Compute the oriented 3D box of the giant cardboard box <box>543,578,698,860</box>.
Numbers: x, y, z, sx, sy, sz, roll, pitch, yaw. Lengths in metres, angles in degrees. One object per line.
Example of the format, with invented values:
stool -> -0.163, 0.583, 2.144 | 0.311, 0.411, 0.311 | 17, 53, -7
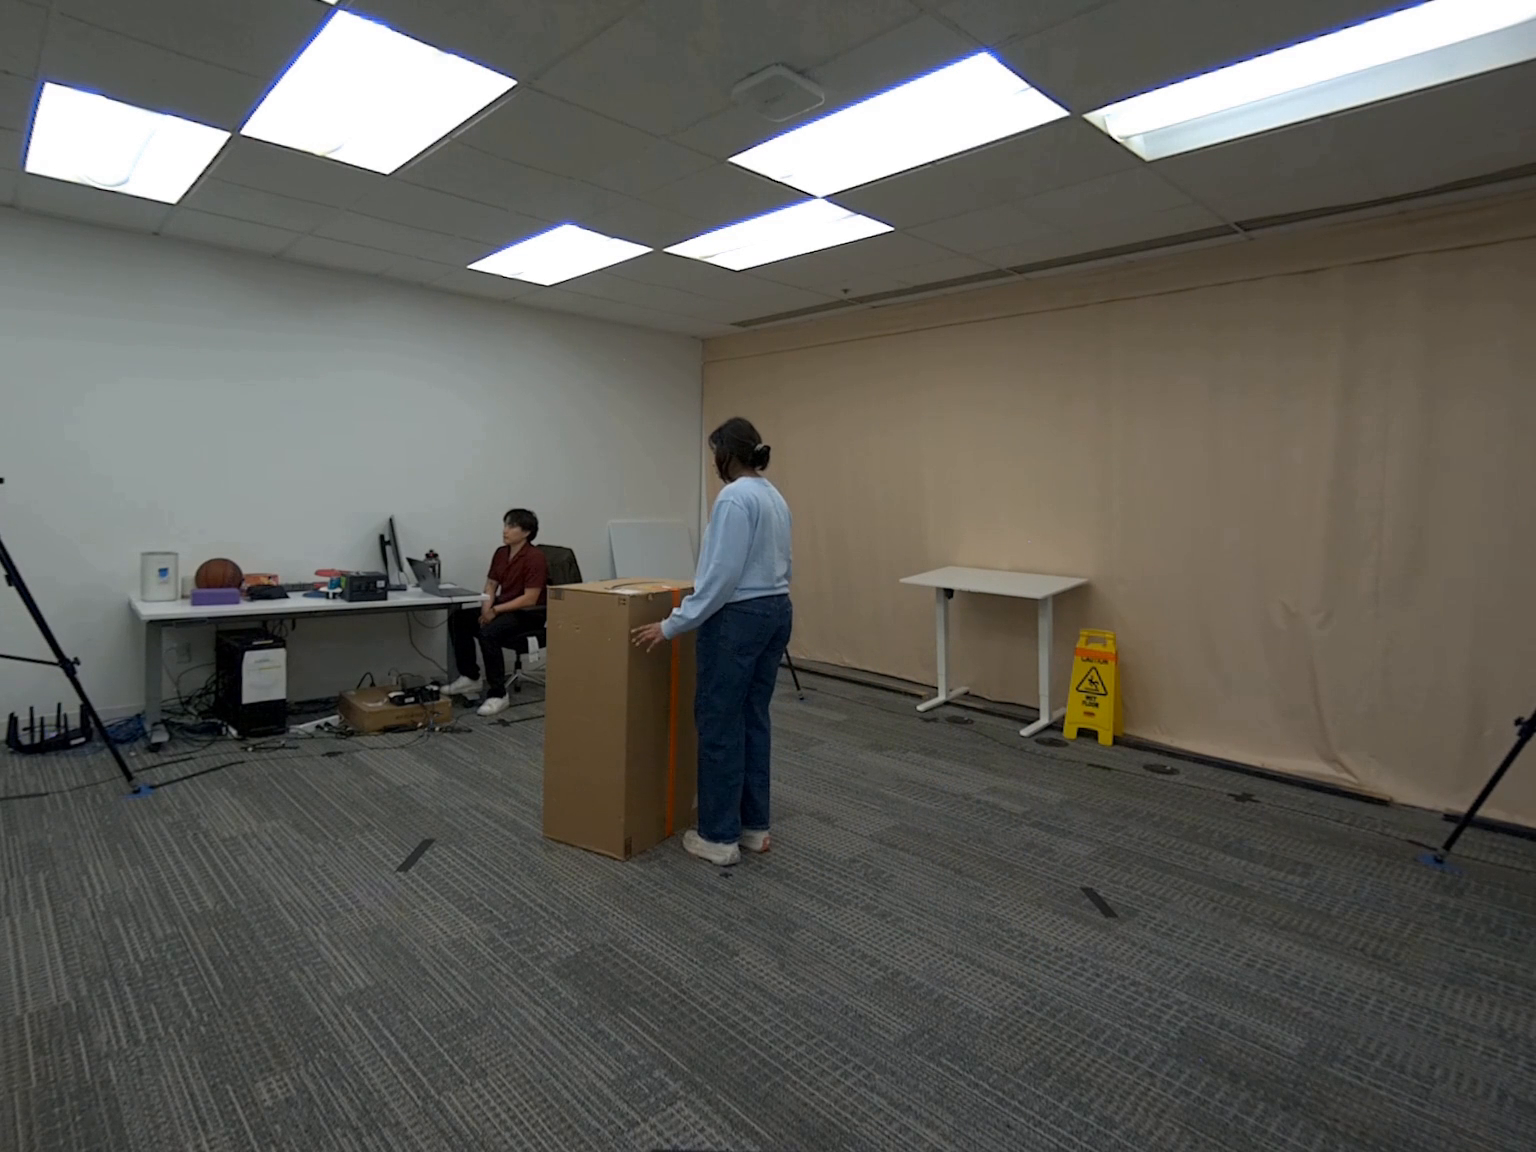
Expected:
giant cardboard box -> -0.586, 0.545, 3.529 | 0.457, 1.025, 0.572 | 4, 4, 31
